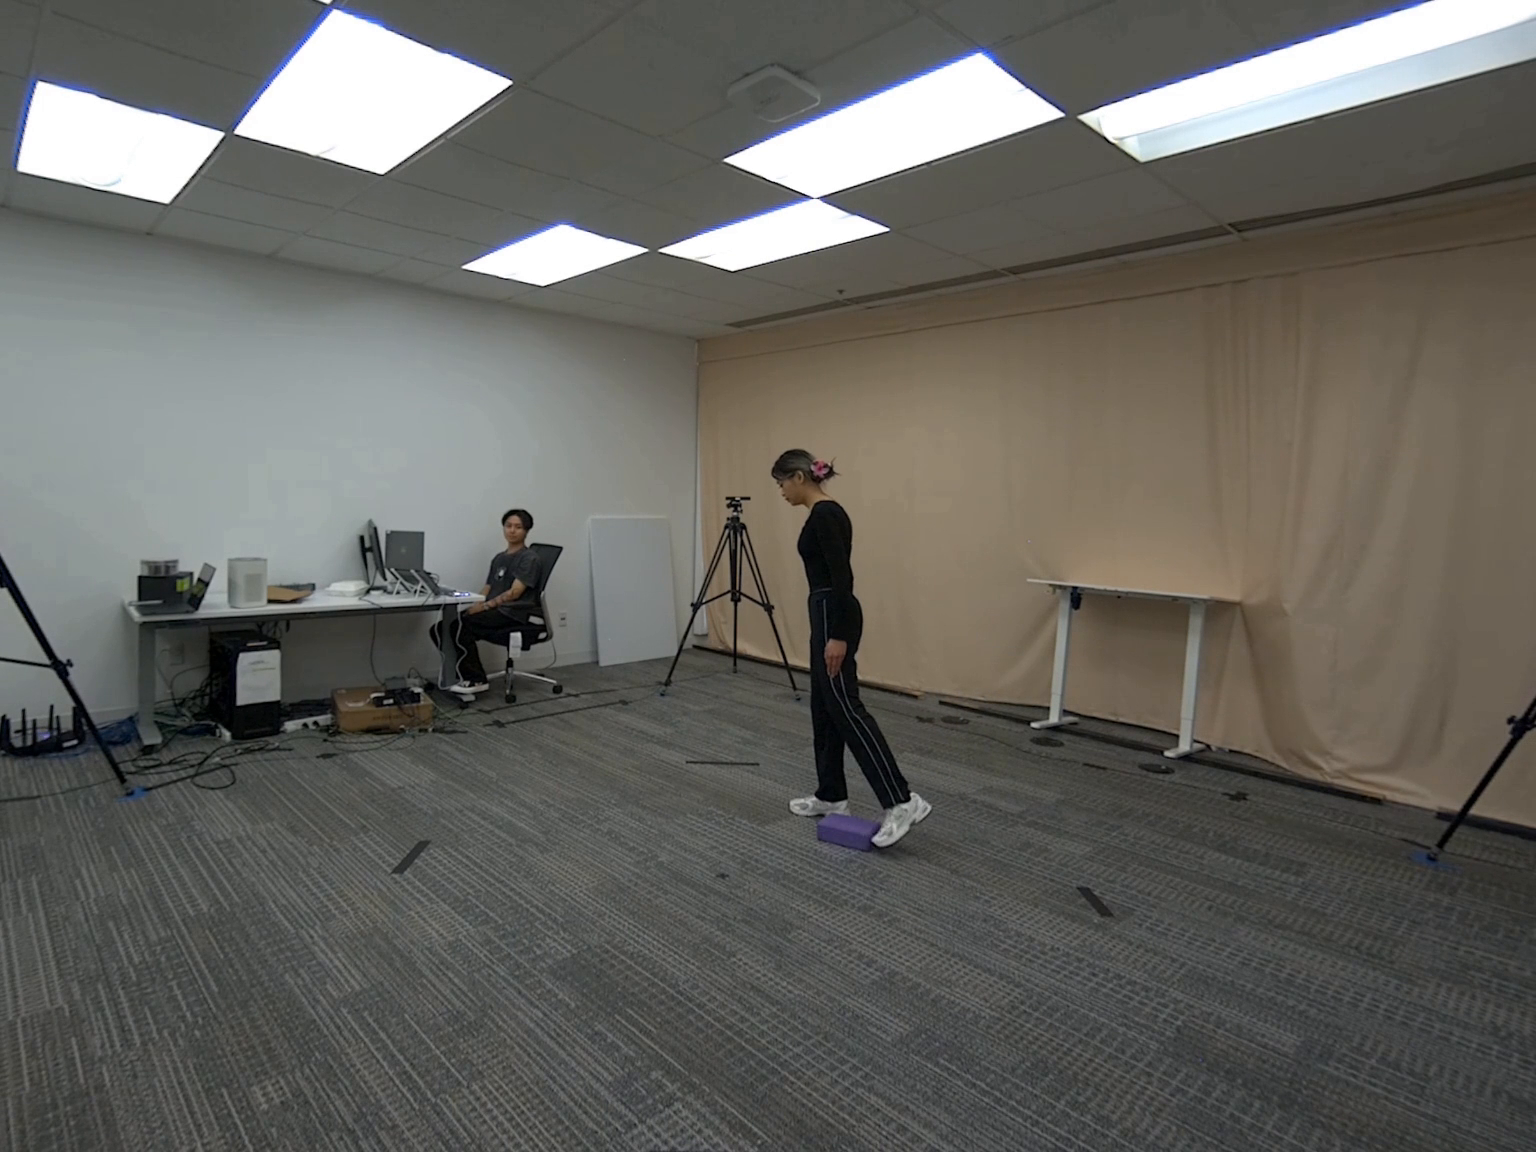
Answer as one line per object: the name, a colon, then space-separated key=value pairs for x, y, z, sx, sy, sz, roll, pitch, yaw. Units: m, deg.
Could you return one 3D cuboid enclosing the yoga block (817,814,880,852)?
yoga block: x=0.314 y=1.043 z=3.465 sx=0.234 sy=0.076 sz=0.146 roll=4 pitch=7 yaw=30
